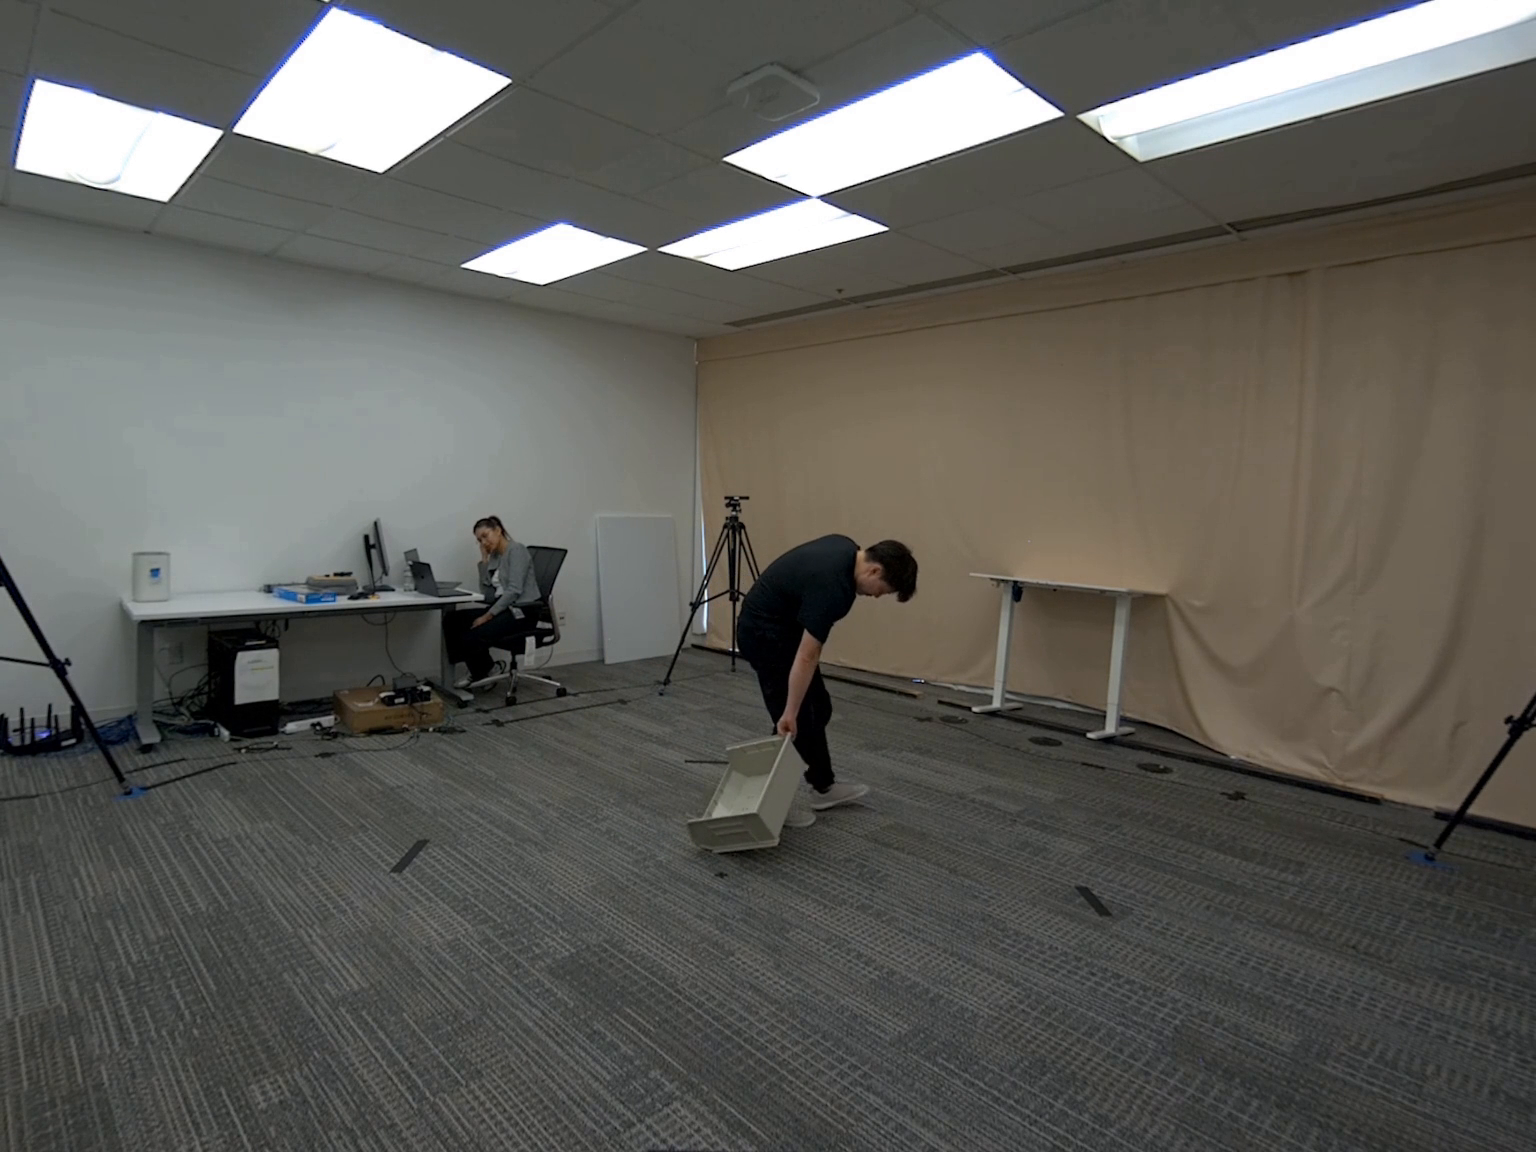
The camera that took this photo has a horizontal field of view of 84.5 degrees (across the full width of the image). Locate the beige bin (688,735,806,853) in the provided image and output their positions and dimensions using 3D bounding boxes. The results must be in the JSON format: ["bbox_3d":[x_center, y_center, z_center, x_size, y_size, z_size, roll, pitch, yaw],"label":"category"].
[{"bbox_3d":[-0.093,0.867,3.354,0.383,0.185,0.424,-18,23,33],"label":"beige bin"}]
